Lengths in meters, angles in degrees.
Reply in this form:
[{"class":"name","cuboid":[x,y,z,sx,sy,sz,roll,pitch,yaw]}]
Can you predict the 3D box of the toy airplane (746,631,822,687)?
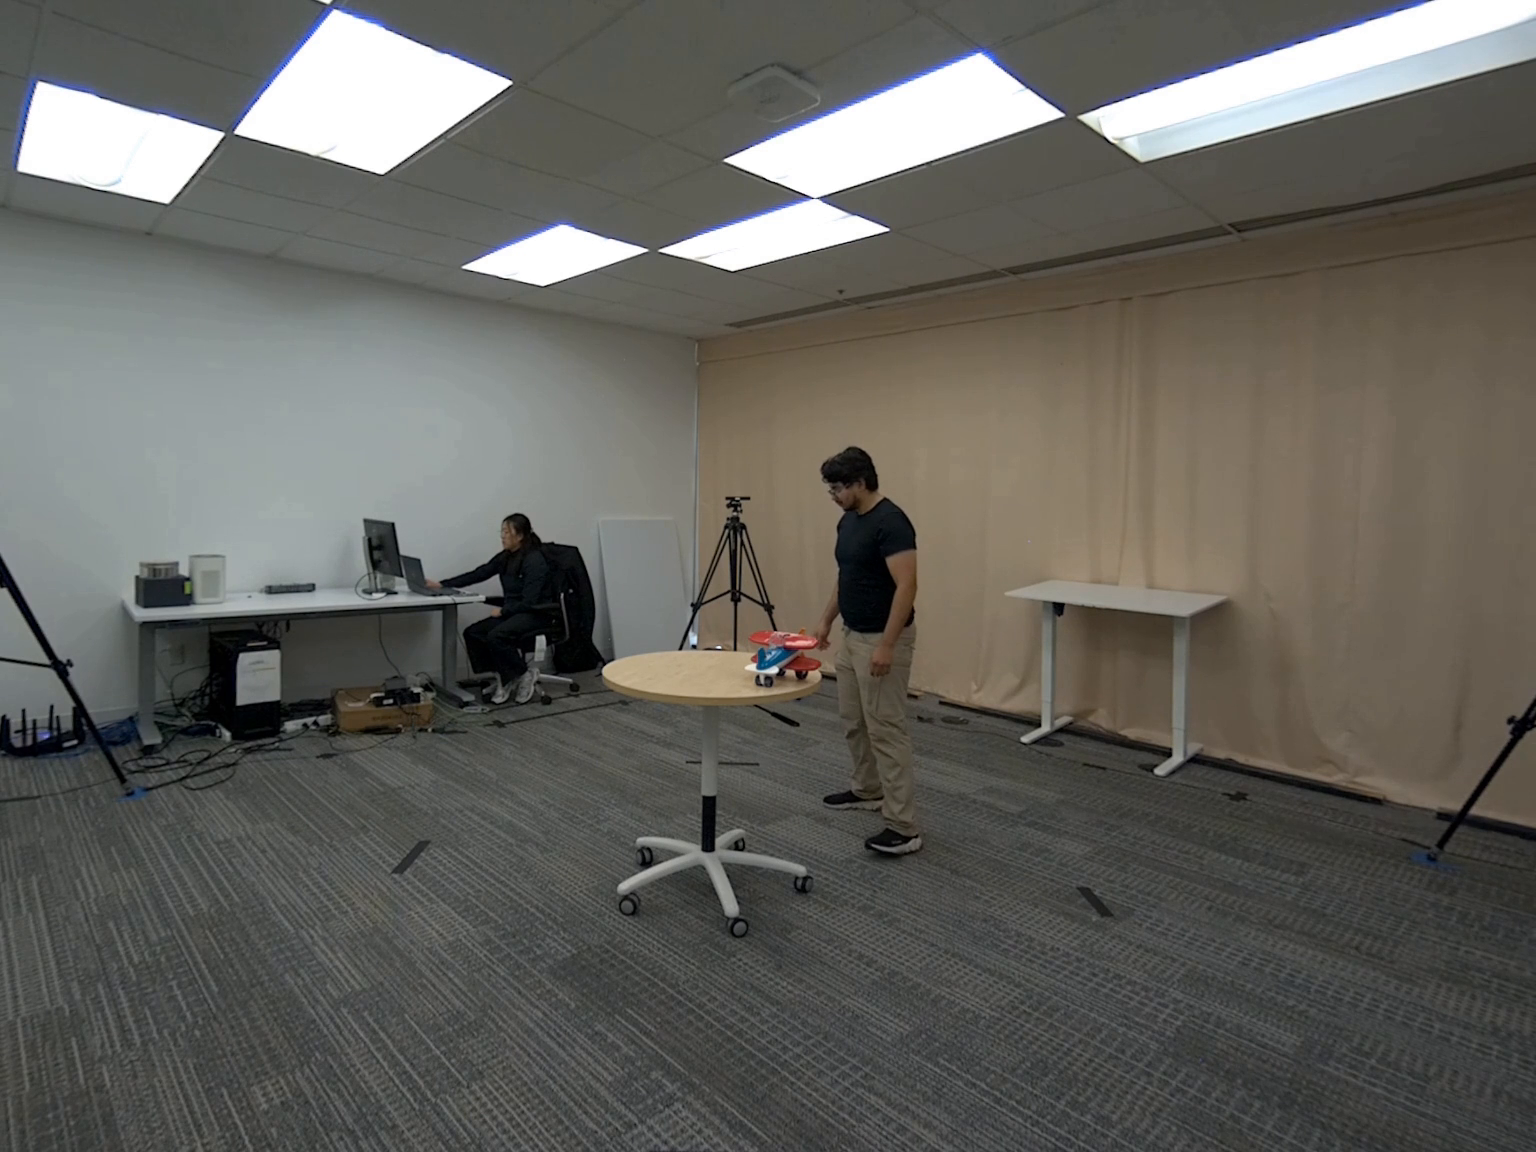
[{"class":"toy airplane","cuboid":[0.051,0.280,2.804,0.252,0.156,0.259,1,4,3]}]
